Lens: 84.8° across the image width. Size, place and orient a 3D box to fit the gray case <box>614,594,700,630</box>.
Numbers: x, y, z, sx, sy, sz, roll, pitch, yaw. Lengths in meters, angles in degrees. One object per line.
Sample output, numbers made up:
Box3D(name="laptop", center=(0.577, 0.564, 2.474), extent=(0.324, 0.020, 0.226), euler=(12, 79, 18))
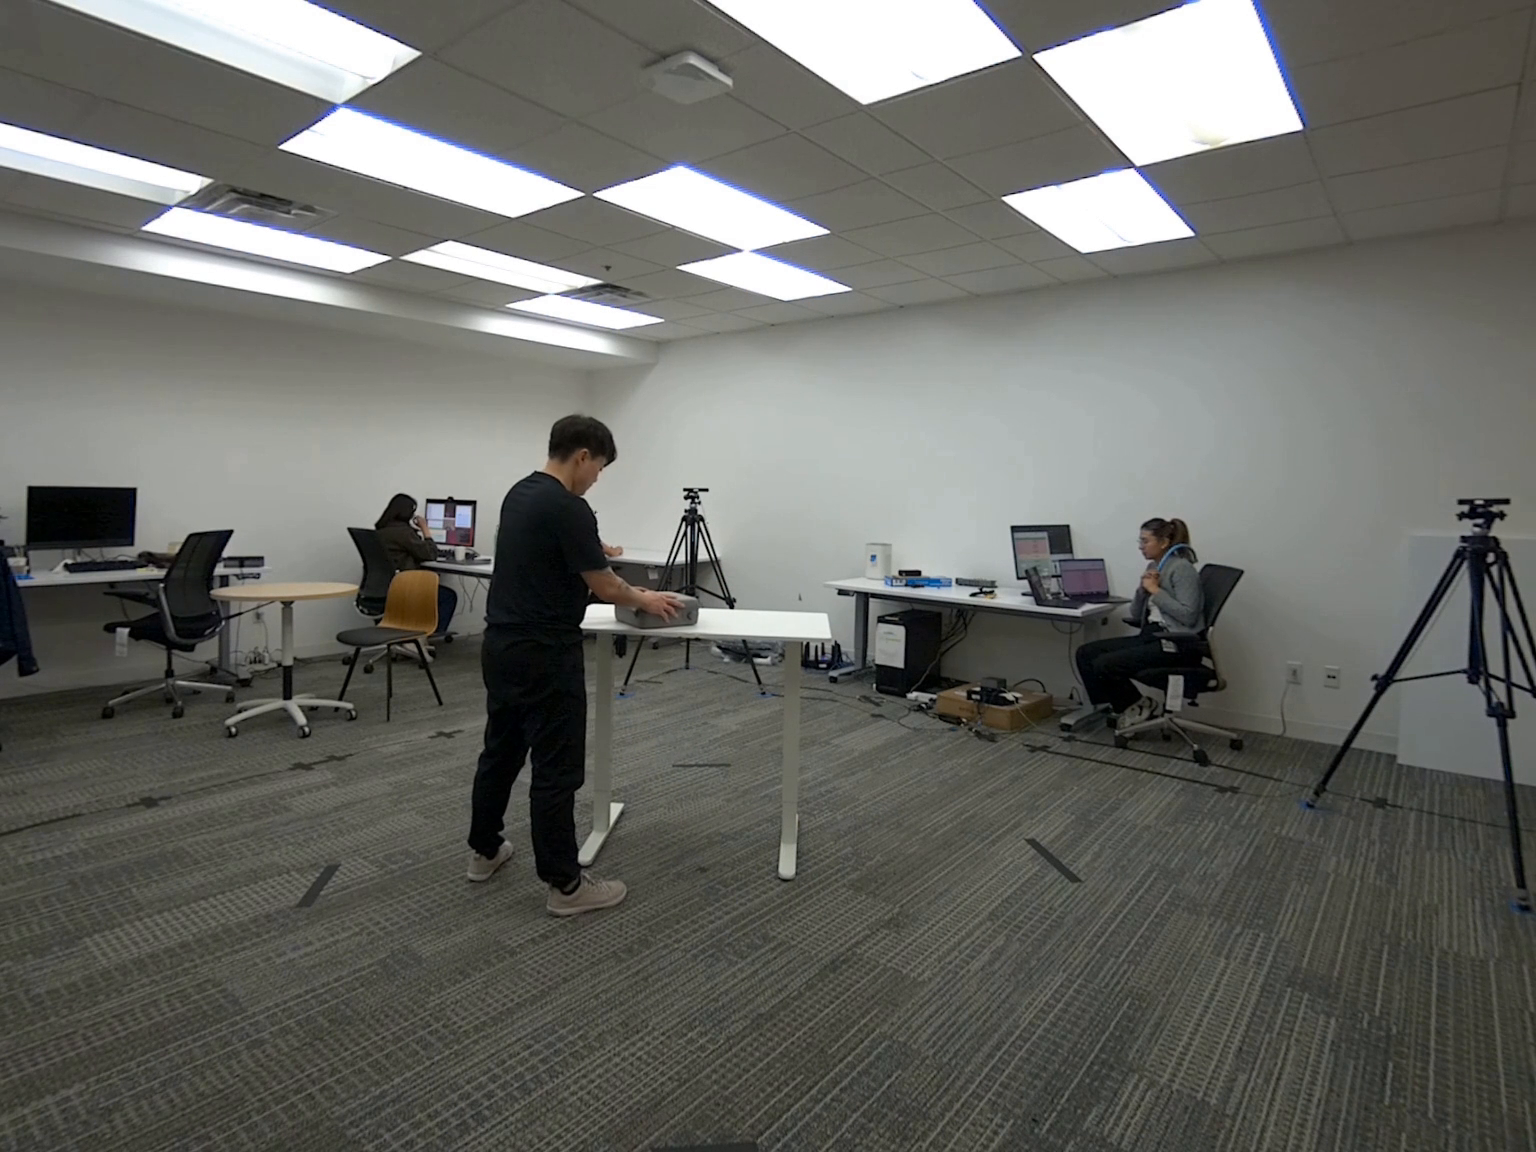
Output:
Box3D(name="gray case", center=(-0.430, 0.122, 3.220), extent=(0.253, 0.104, 0.265), euler=(-2, 5, -31))
